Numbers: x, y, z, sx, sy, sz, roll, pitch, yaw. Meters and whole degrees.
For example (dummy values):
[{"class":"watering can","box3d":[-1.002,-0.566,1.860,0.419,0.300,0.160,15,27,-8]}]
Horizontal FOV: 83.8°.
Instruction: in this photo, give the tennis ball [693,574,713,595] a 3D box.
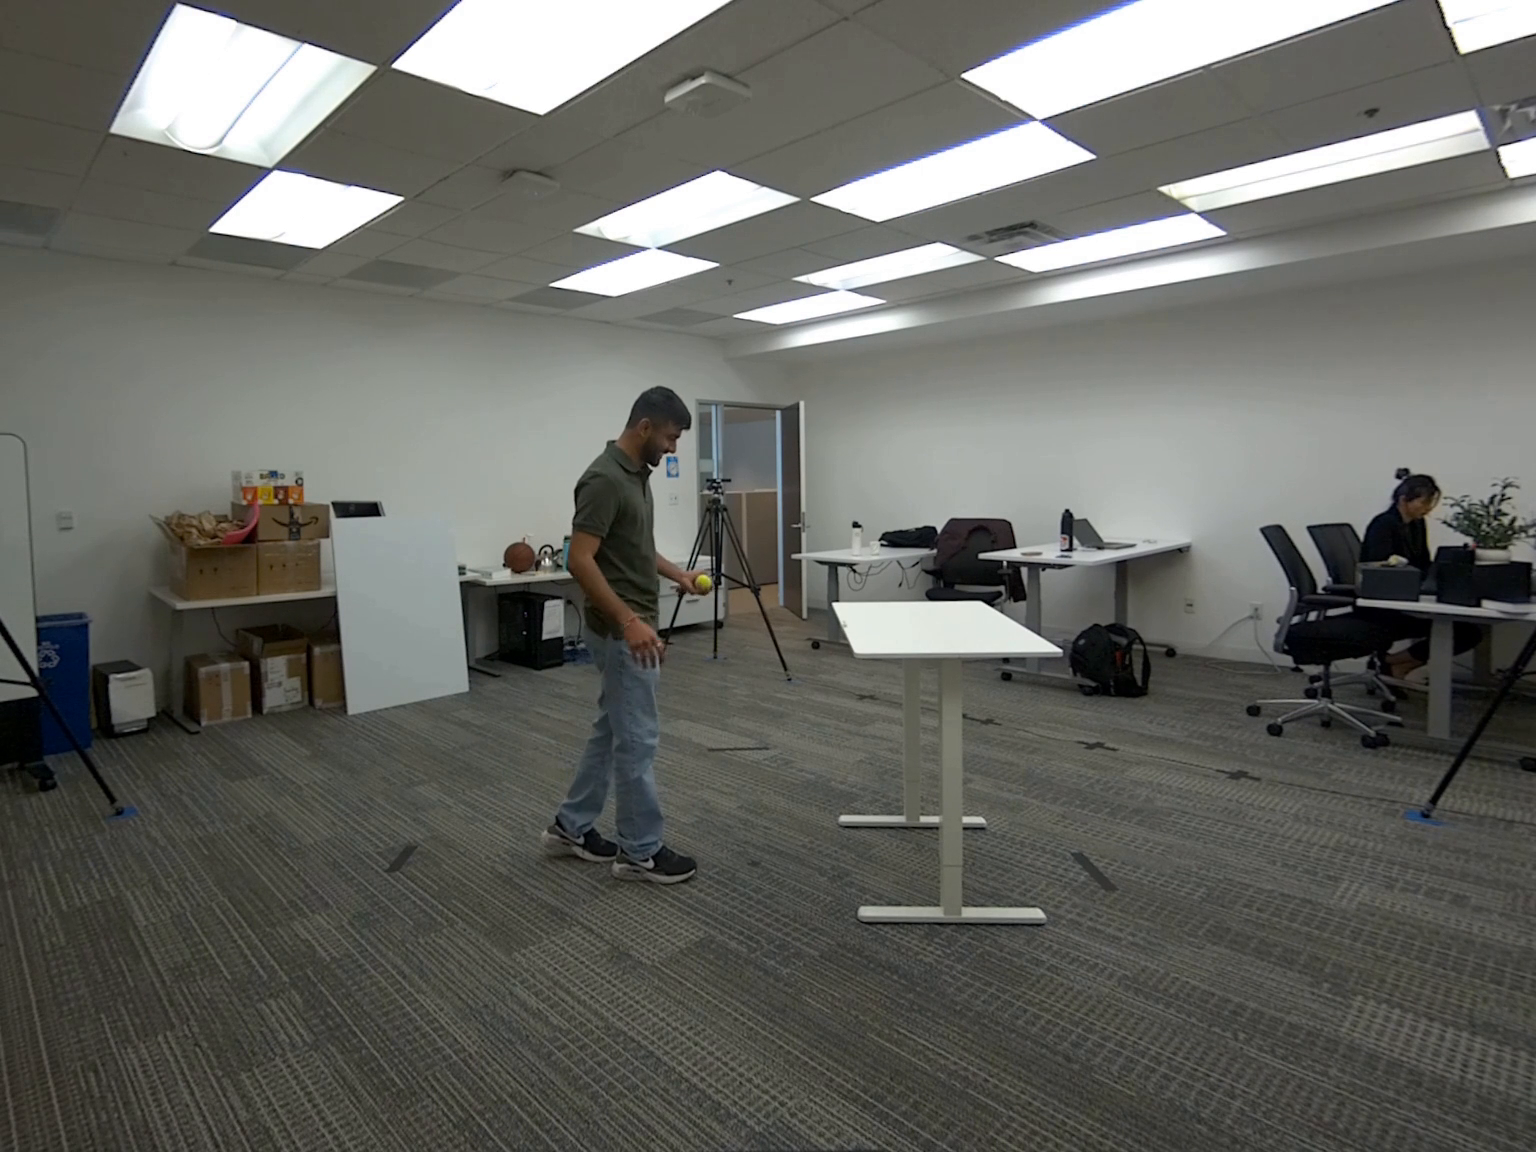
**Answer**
[{"class":"tennis ball","box3d":[-0.272,0.026,3.349,0.066,0.066,0.067,-1,5,-2]}]
